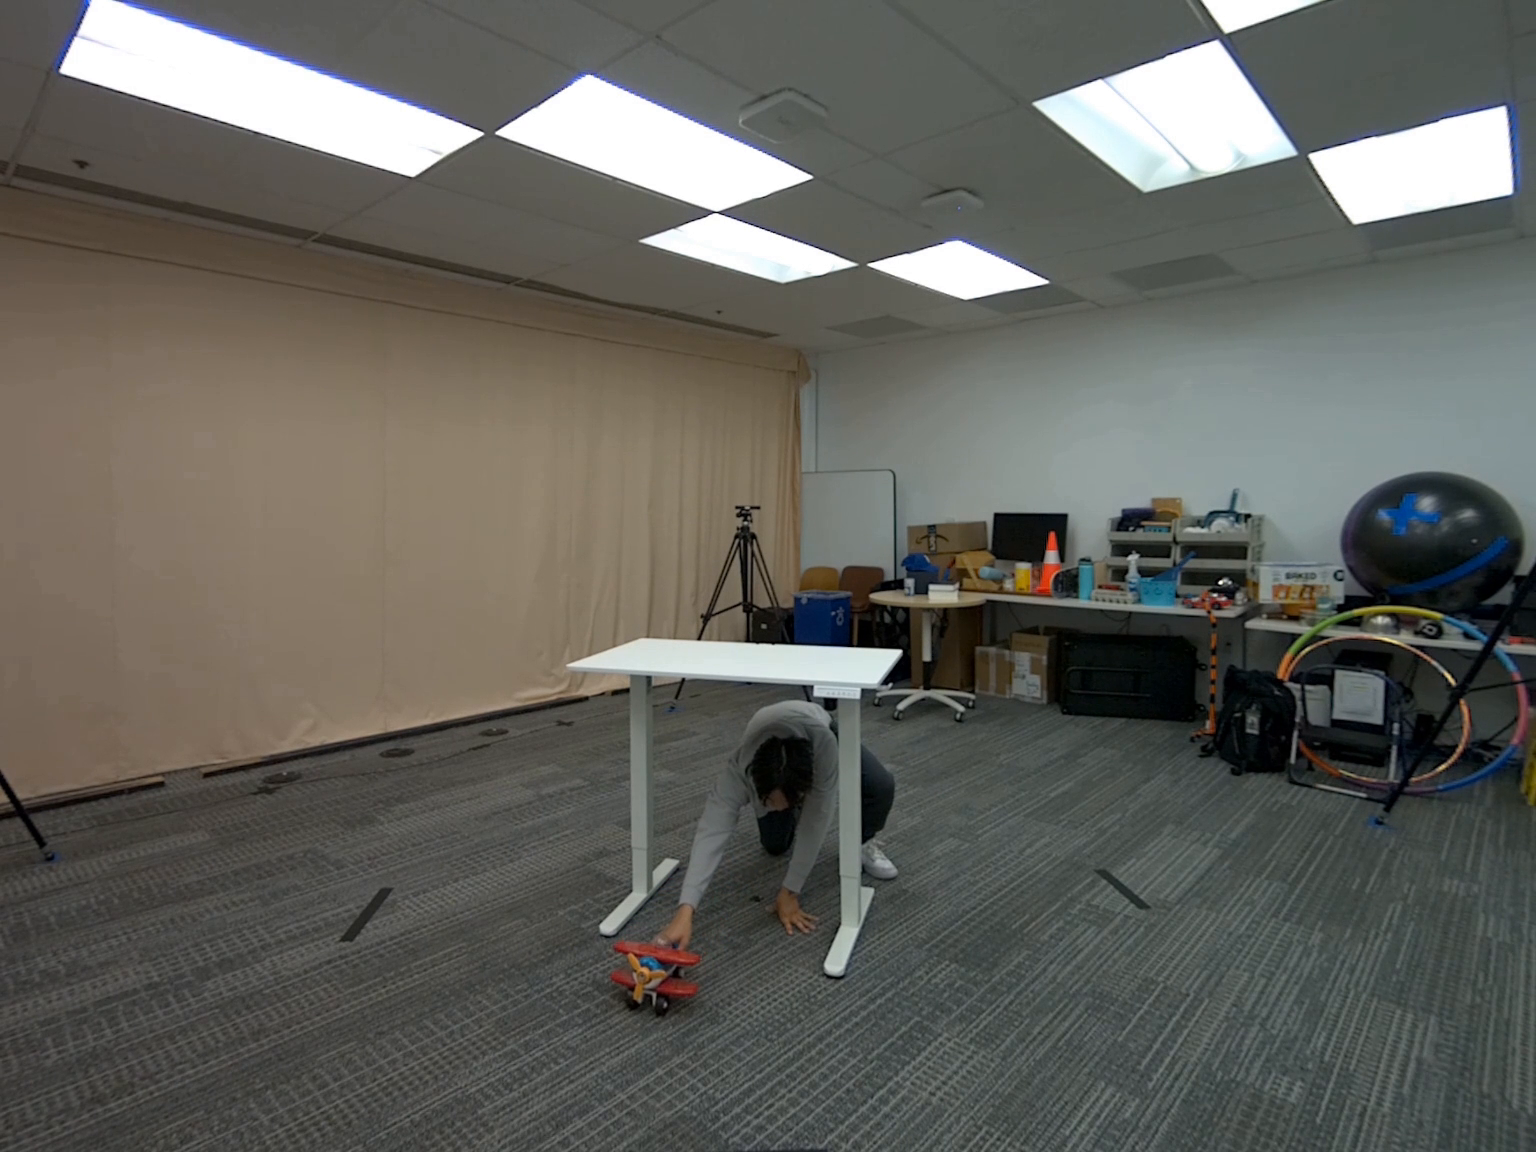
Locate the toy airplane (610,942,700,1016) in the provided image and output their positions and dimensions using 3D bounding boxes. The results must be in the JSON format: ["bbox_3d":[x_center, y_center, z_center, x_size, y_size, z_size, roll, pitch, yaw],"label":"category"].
[{"bbox_3d":[-0.322,1.125,2.400,0.248,0.156,0.263,0,5,-11],"label":"toy airplane"}]
